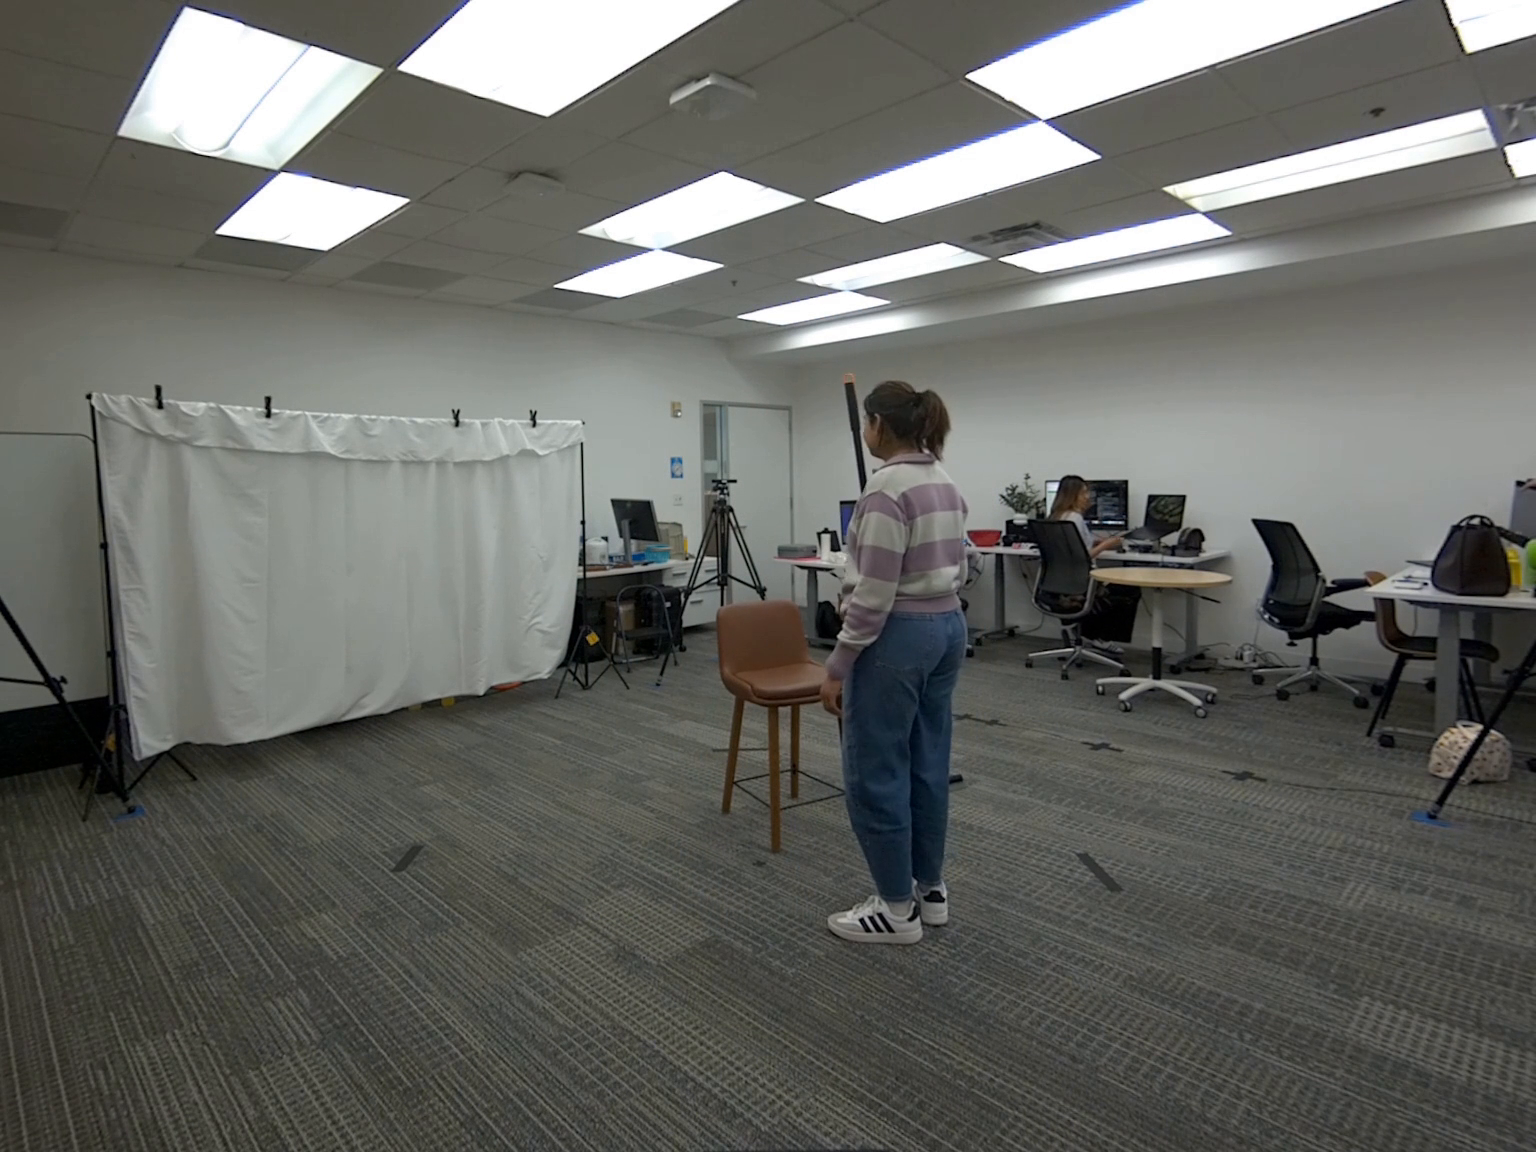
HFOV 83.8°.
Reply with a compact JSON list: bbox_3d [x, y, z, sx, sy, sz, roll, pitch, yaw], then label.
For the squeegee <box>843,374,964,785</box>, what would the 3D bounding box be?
[{"bbox_3d":[0.407,0.081,2.984,0.439,1.518,0.053,-7,12,4],"label":"squeegee"}]
